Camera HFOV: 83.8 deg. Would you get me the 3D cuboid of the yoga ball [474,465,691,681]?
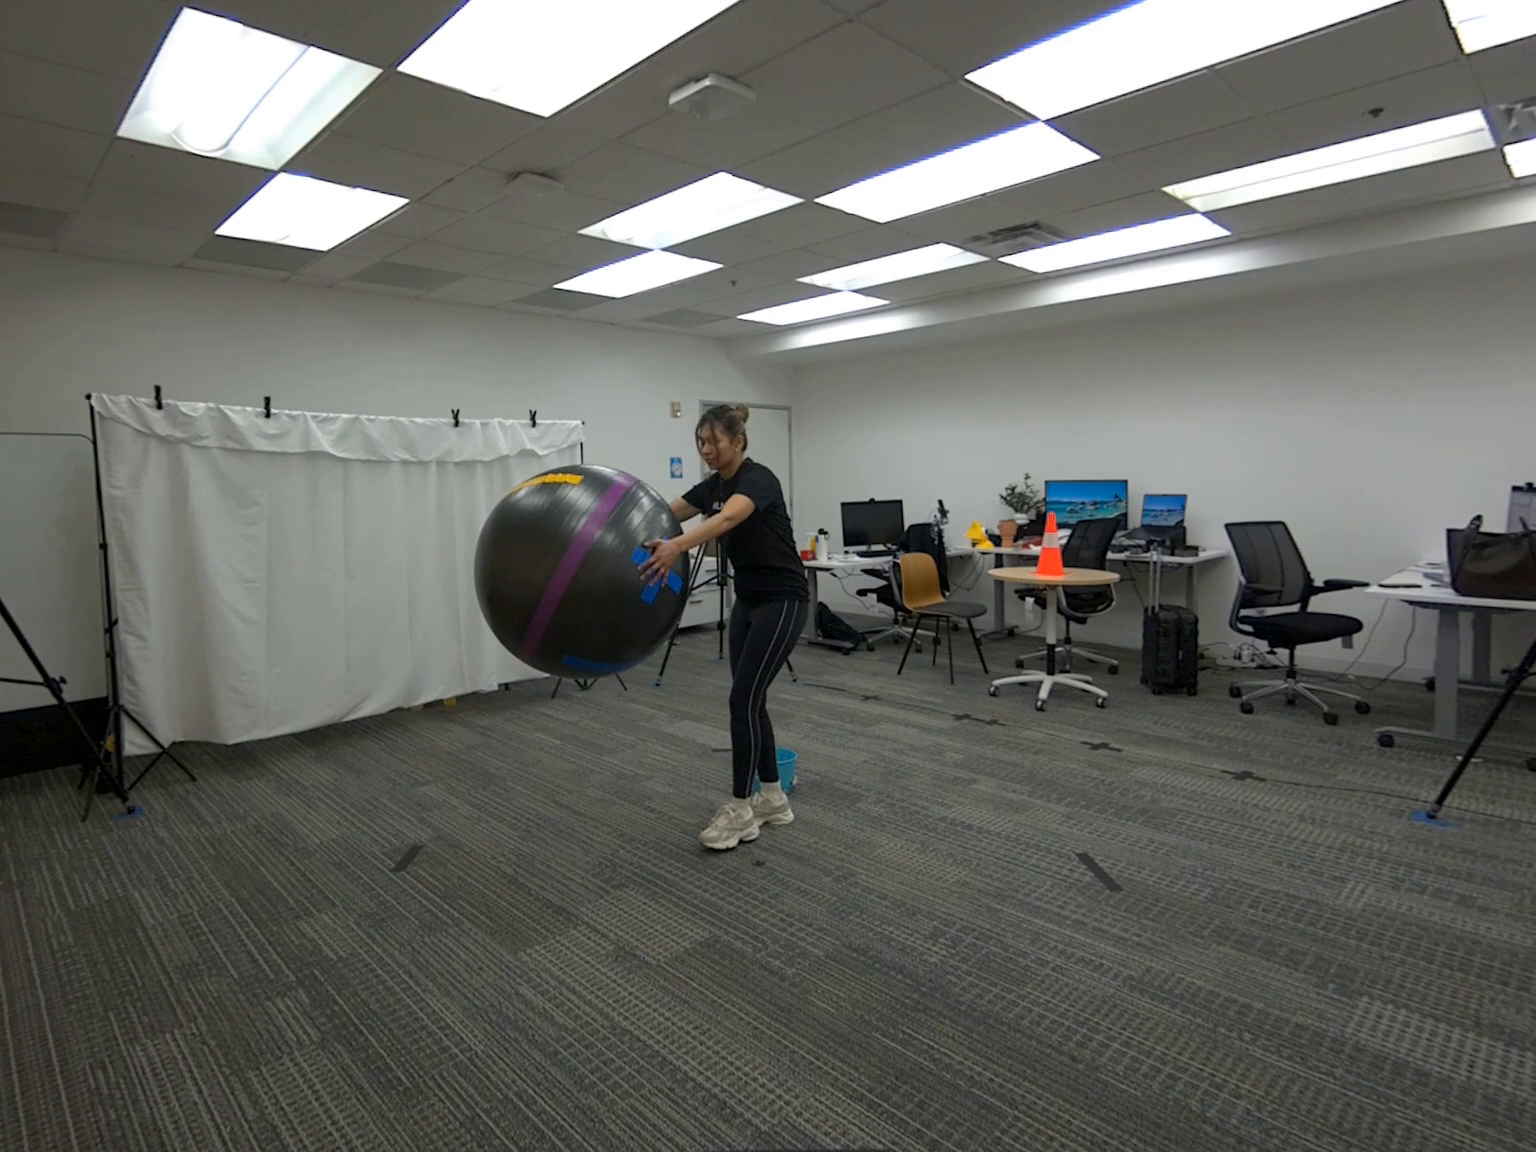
[{"bbox_3d":[-0.652,0.003,3.026,0.757,0.755,0.762,-1,5,-2],"label":"yoga ball"}]
